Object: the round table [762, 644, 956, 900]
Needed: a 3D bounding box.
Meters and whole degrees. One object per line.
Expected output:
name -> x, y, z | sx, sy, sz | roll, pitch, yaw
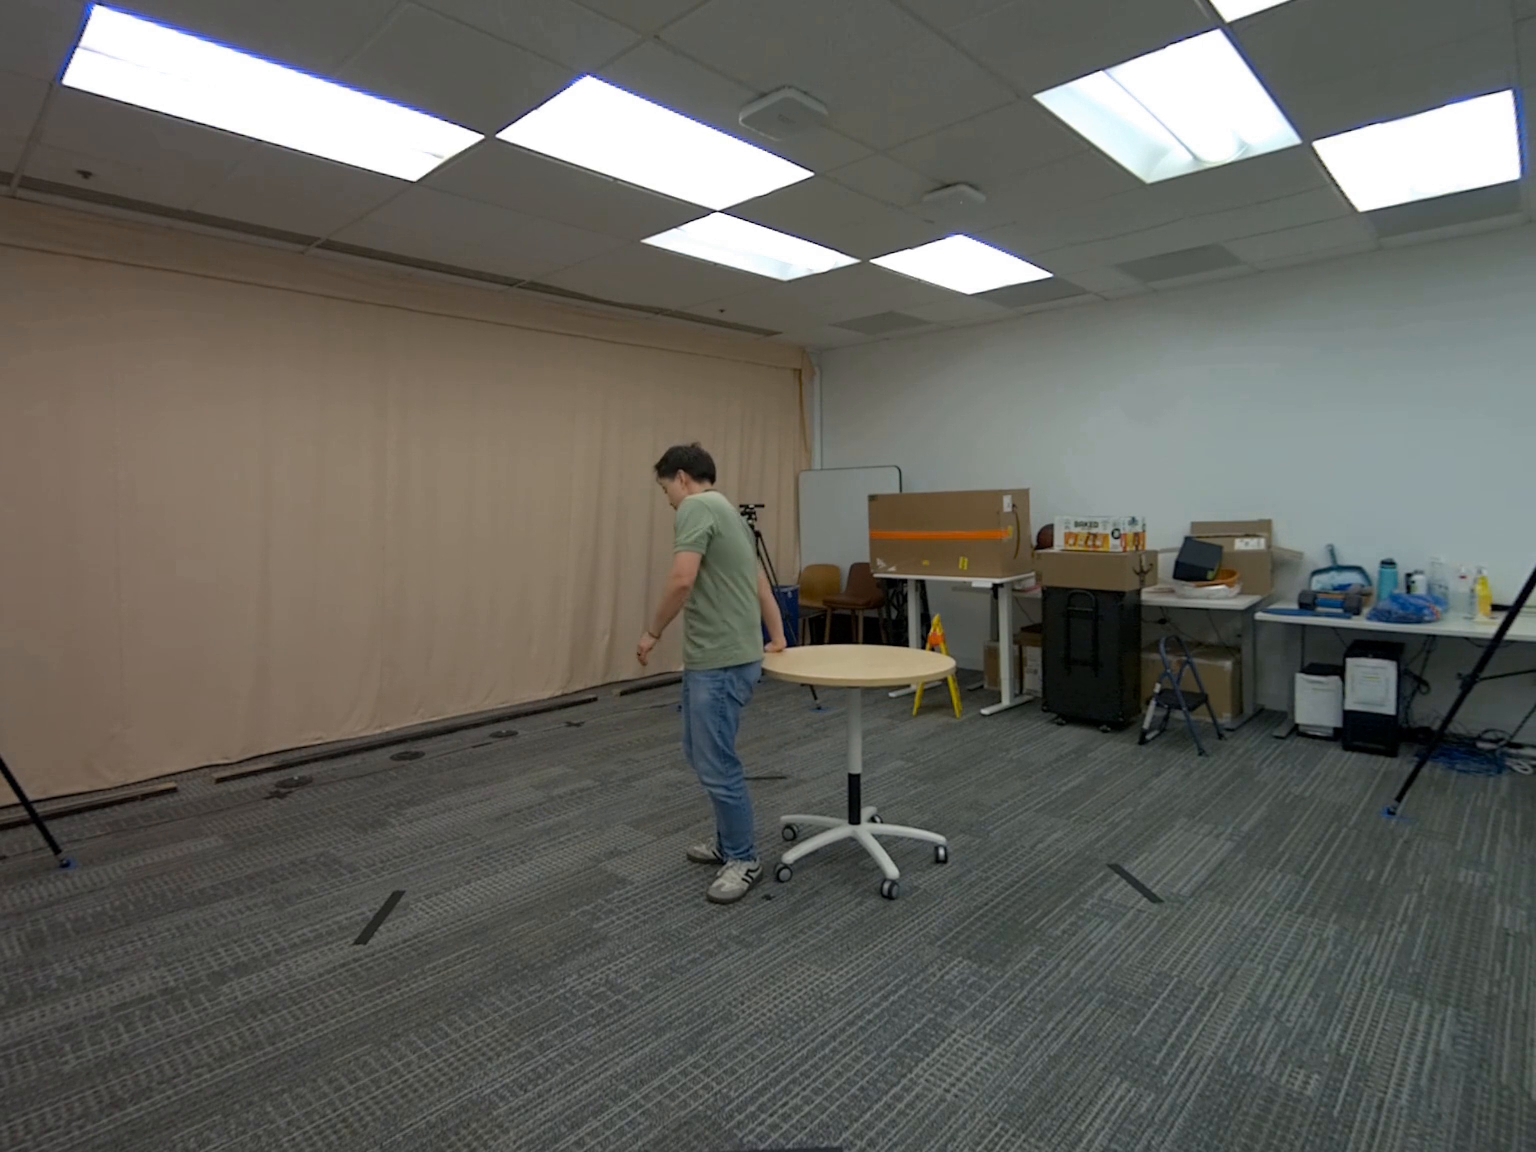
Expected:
round table -> 0.337, 0.721, 3.279 | 0.763, 0.793, 0.766 | -1, 3, -2
